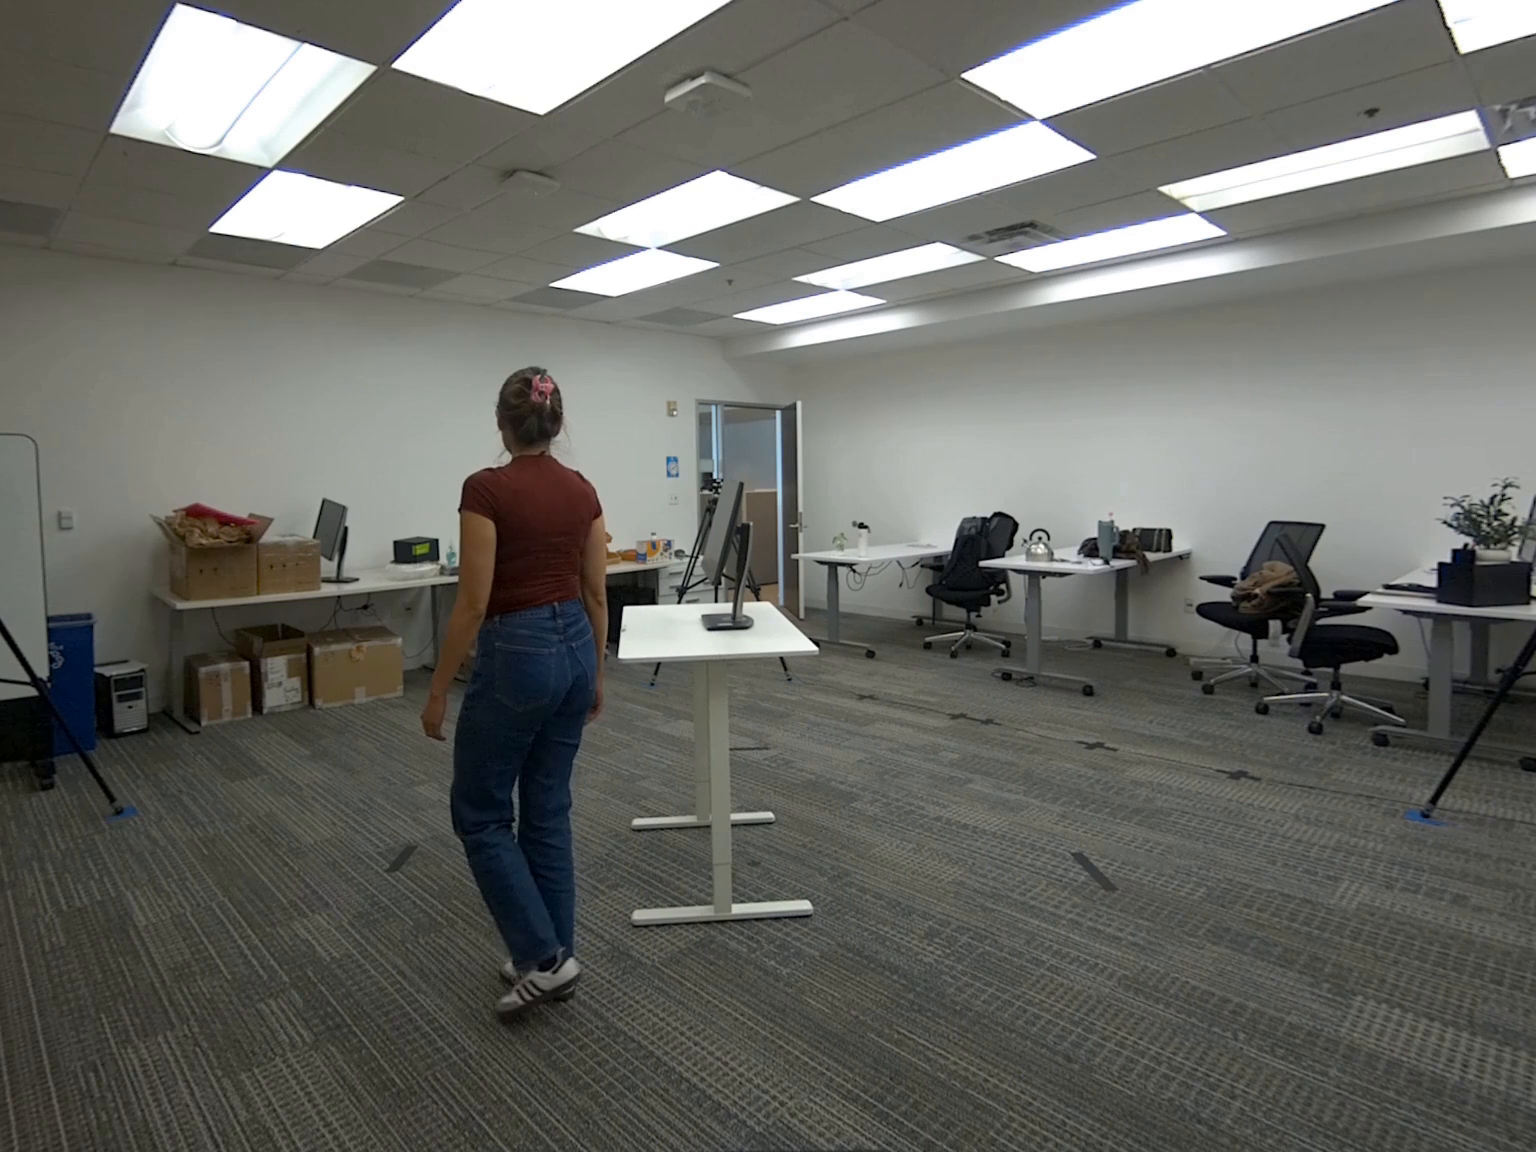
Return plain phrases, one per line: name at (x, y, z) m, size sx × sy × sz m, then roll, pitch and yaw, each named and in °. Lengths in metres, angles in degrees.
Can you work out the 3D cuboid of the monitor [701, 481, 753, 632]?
monitor at (-0.136, -0.083, 3.045) m, size 0.185 × 0.520 × 0.546 m, roll 0°, pitch 5°, yaw -11°
